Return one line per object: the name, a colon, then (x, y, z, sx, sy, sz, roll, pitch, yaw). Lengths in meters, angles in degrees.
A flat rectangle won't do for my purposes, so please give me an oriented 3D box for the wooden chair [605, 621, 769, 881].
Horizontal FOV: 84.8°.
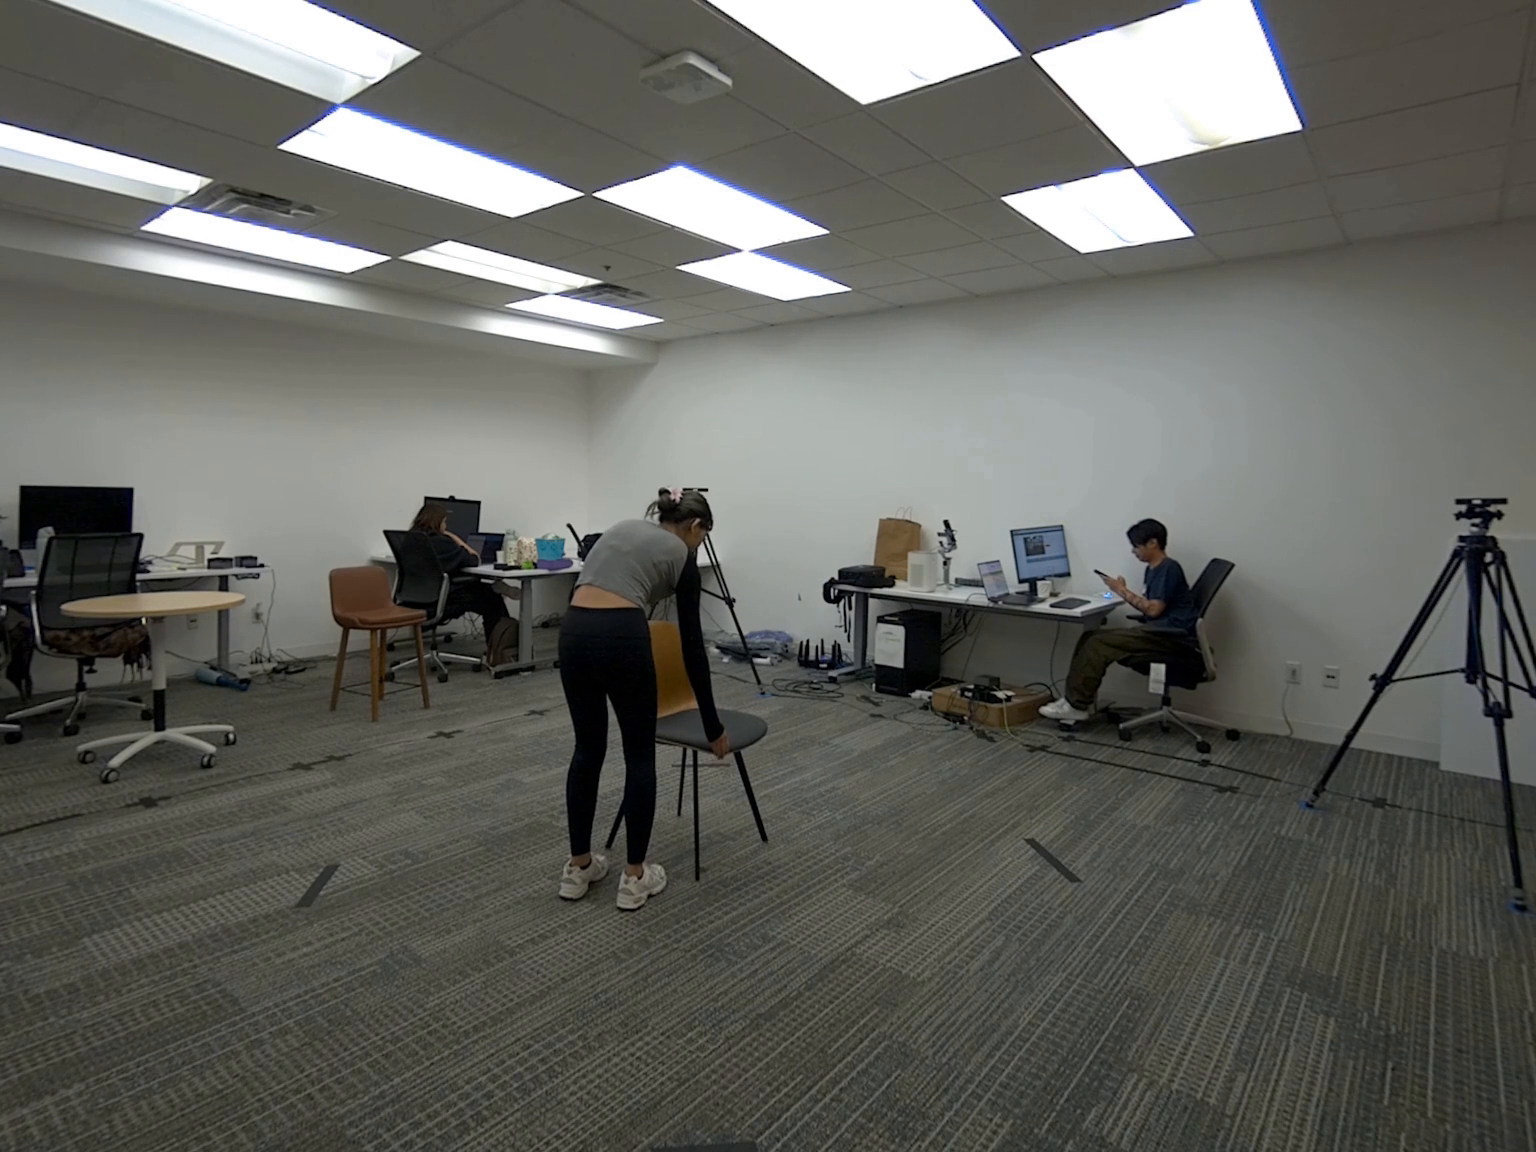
wooden chair: (-0.303, 0.623, 3.299, 0.538, 0.878, 0.464, -3, 0, 35)
